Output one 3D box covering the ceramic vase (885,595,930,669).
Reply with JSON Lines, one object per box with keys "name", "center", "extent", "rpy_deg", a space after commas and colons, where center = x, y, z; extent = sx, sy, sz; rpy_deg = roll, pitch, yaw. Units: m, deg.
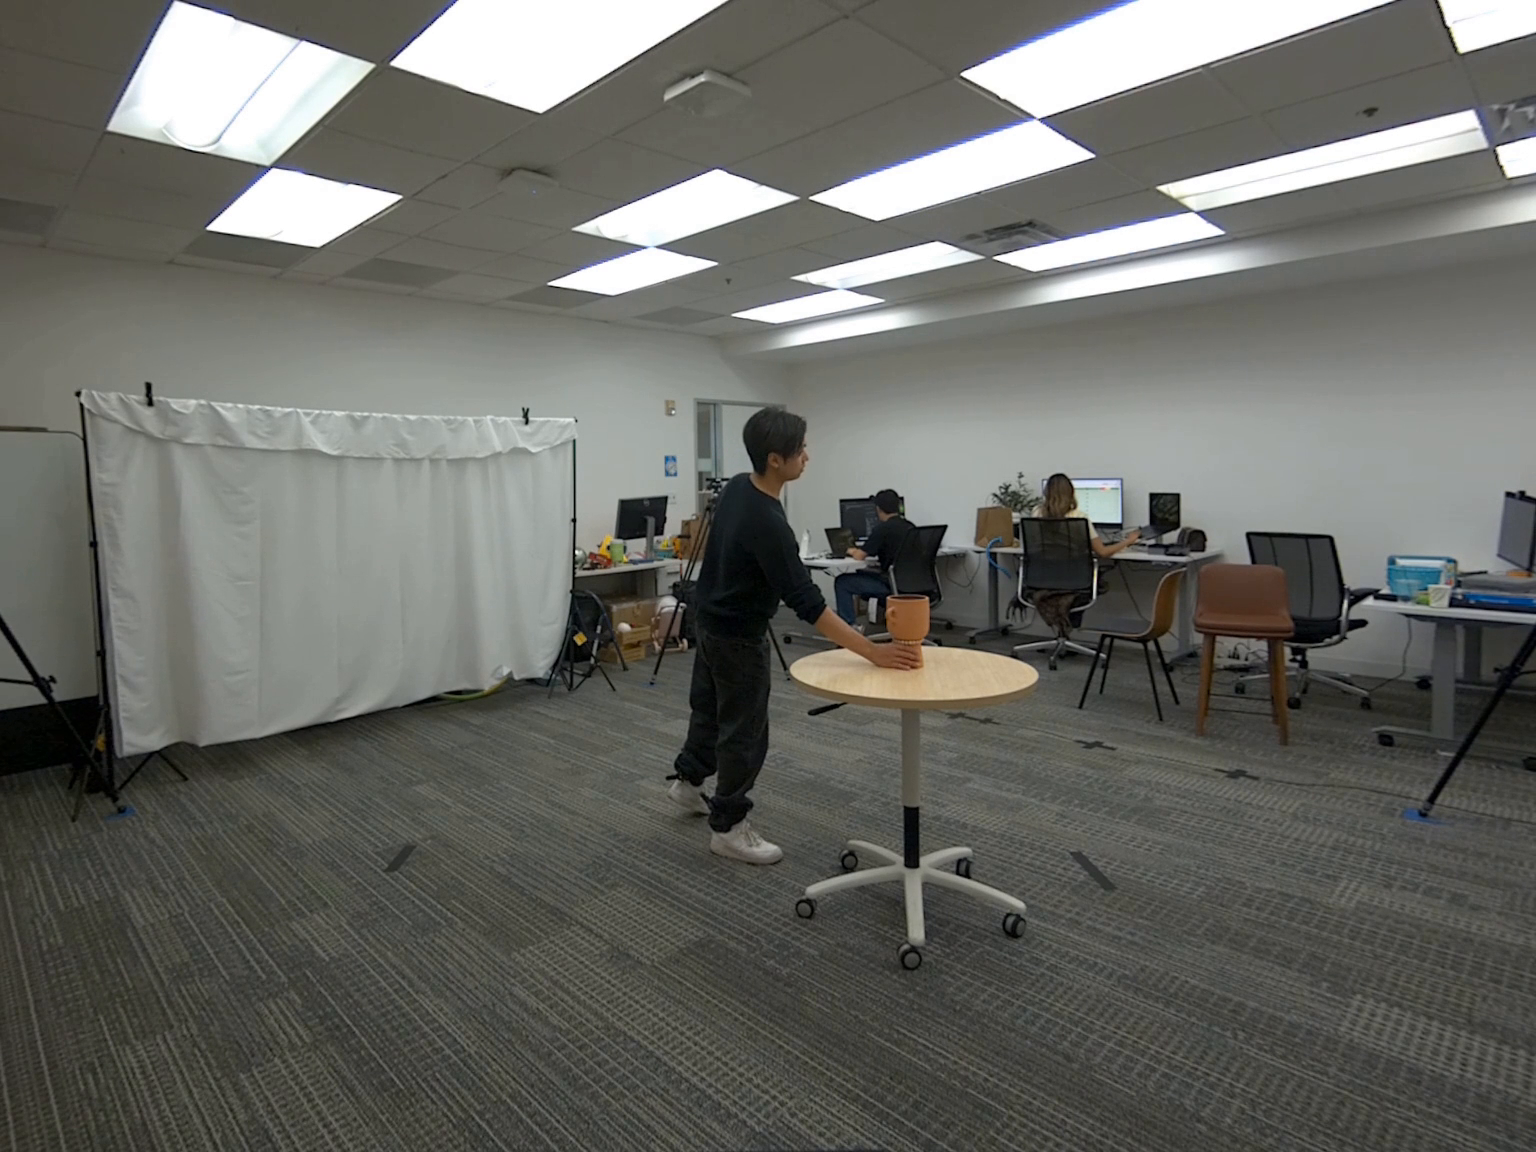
{"name": "ceramic vase", "center": [0.453, 0.178, 2.766], "extent": [0.159, 0.219, 0.135], "rpy_deg": [-2, 5, 3]}
